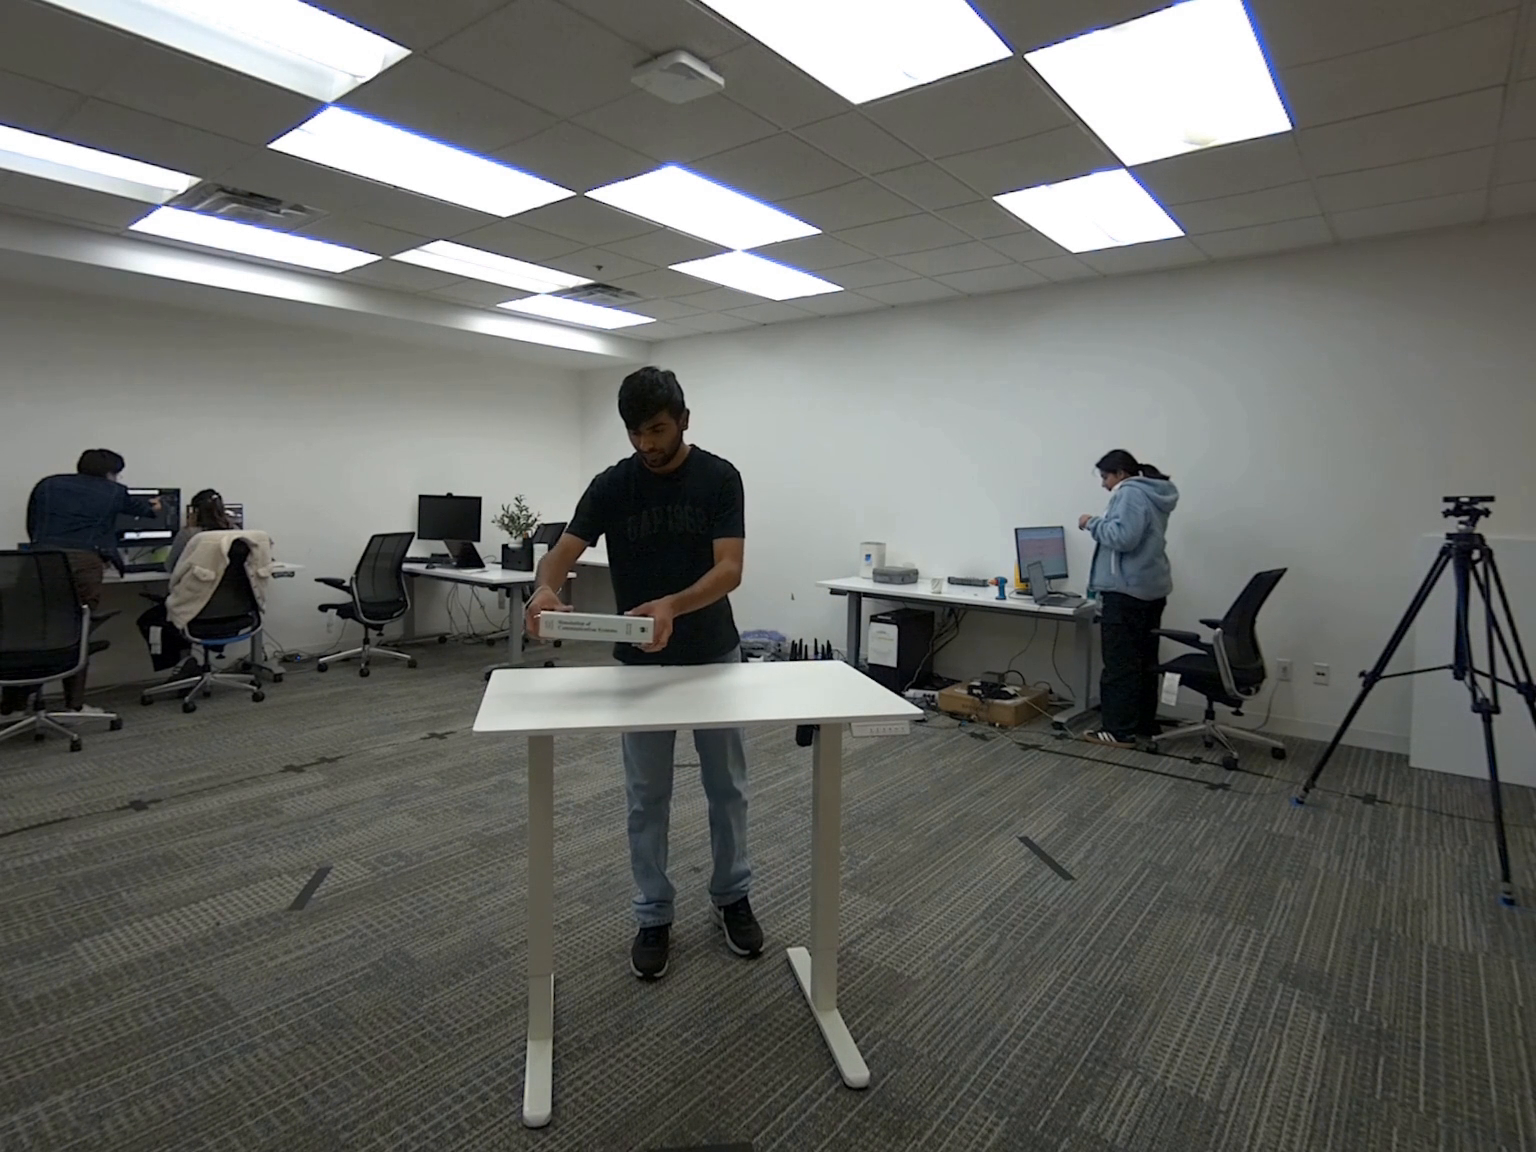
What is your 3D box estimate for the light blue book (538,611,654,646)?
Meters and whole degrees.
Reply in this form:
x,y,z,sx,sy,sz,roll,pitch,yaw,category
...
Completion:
x,y,z,sx,sy,sz,roll,pitch,yaw,category
-0.417,0.117,2.062,0.260,0.059,0.192,6,-1,-5,light blue book
